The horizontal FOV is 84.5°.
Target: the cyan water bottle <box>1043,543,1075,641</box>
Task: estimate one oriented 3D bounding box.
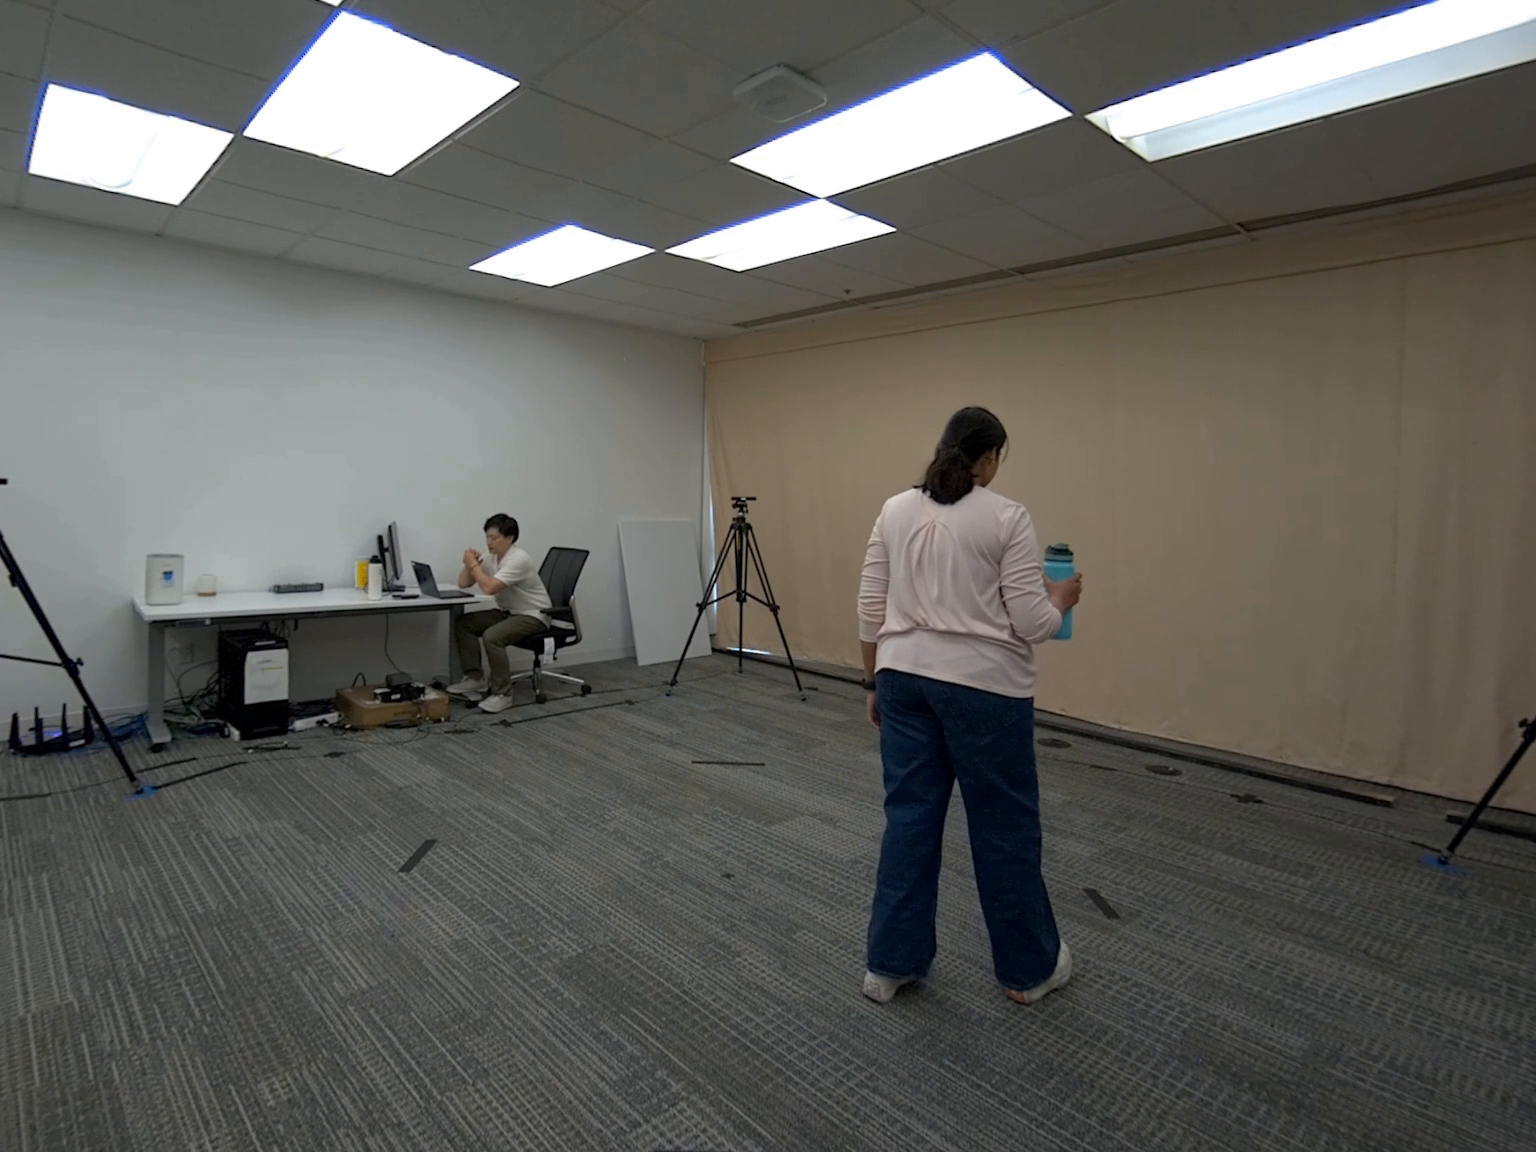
[{"bbox_3d":[0.858,0.045,2.496,0.092,0.283,0.092,2,3,-1],"label":"cyan water bottle"}]
